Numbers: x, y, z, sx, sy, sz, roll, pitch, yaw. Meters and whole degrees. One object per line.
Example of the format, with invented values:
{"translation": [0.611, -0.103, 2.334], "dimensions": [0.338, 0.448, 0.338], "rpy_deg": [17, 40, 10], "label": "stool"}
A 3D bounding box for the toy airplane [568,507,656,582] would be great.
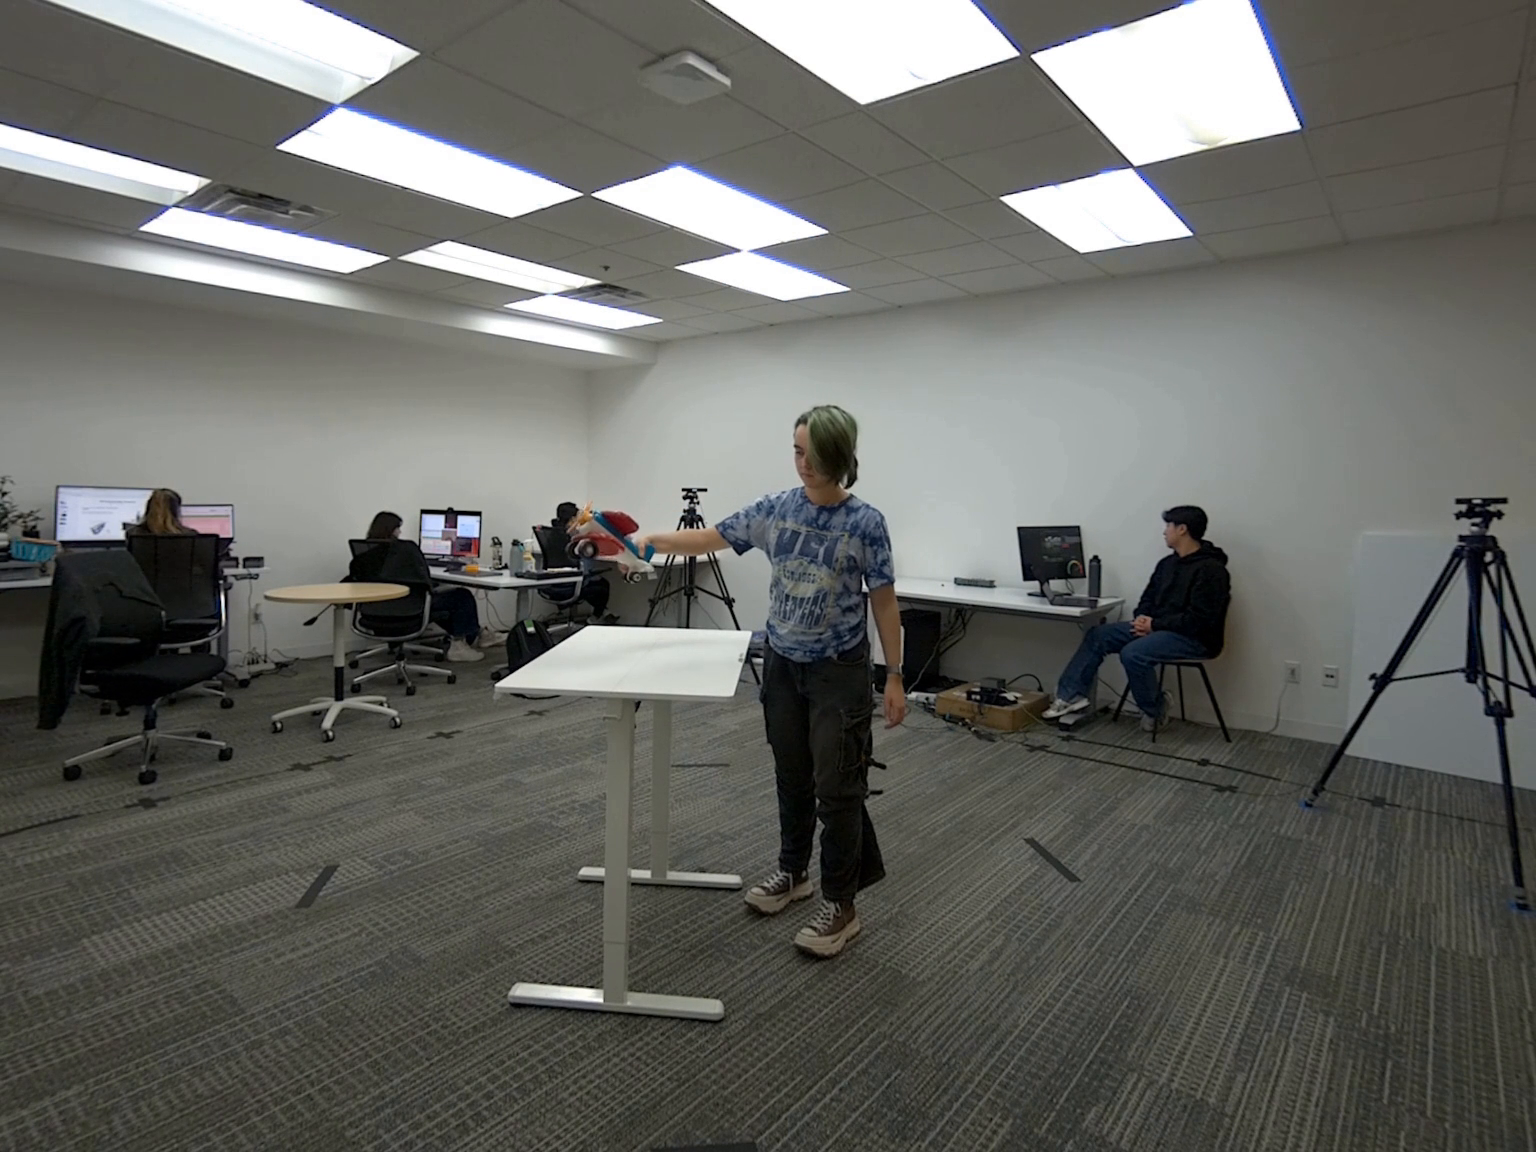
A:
{"translation": [-0.470, -0.088, 2.460], "dimensions": [0.259, 0.158, 0.249], "rpy_deg": [10, -16, 29], "label": "toy airplane"}
